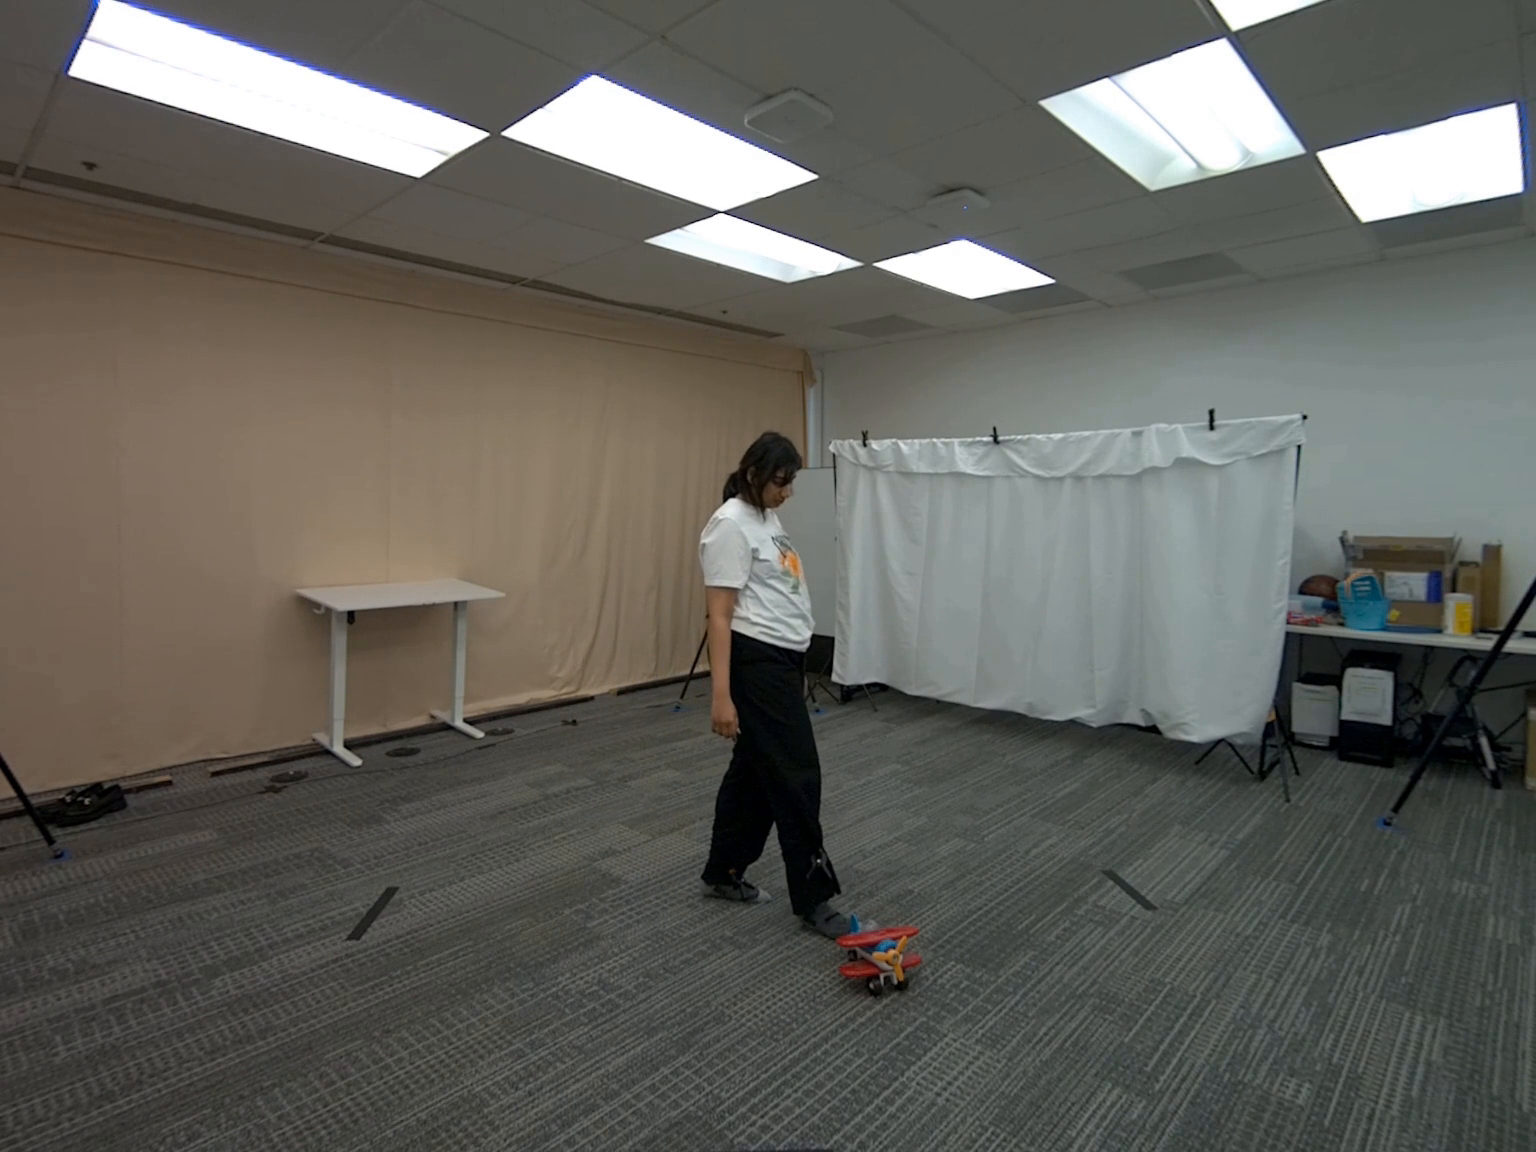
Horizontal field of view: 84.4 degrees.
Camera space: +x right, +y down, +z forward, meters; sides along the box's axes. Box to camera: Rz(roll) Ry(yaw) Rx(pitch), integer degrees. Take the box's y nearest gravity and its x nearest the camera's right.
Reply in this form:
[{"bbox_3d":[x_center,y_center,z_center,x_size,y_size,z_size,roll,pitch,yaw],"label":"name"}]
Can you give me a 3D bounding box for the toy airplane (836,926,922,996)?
[{"bbox_3d":[0.304,1.113,2.477,0.268,0.156,0.243,5,6,42],"label":"toy airplane"}]
